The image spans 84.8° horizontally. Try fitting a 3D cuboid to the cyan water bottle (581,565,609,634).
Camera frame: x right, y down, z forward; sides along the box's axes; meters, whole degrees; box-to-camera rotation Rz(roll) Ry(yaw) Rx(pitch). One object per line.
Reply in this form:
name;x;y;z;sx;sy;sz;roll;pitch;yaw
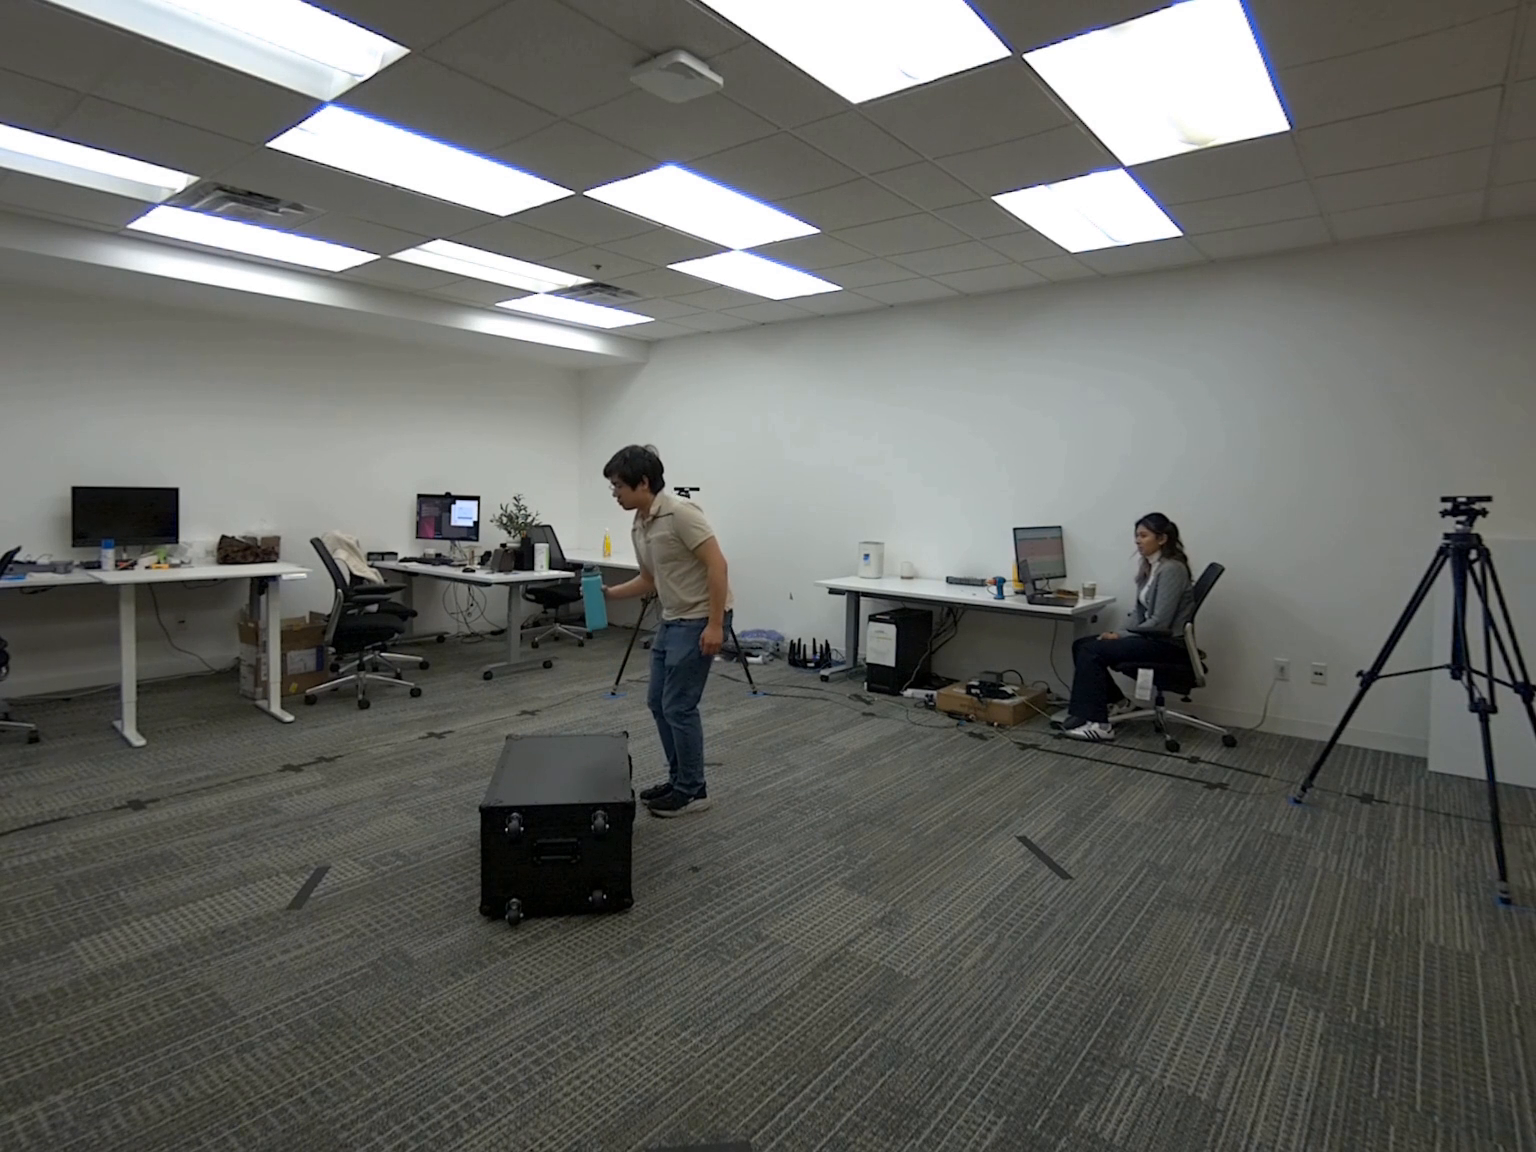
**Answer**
cyan water bottle;-0.769;0.084;3.692;0.092;0.282;0.093;-7;3;-1
